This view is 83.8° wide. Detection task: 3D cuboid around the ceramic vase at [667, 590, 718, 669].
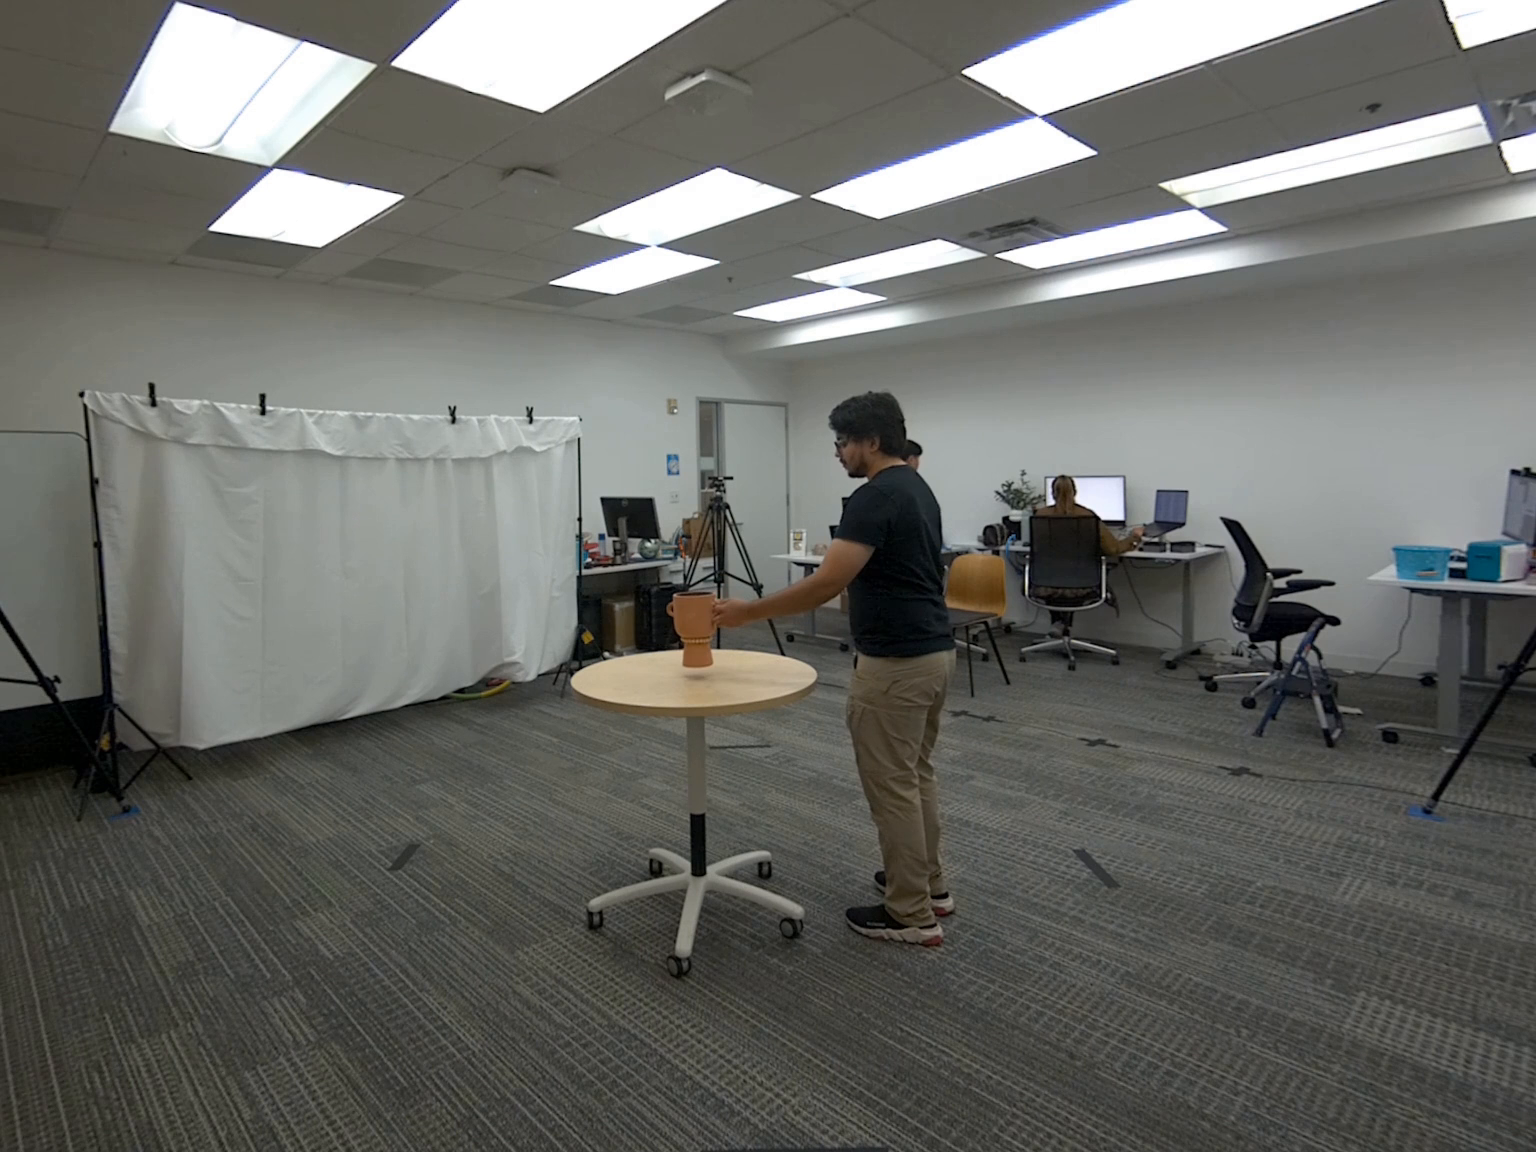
[{"bbox_3d":[-0.212,0.166,2.627,0.132,0.219,0.162,-3,2,-26],"label":"ceramic vase"}]
